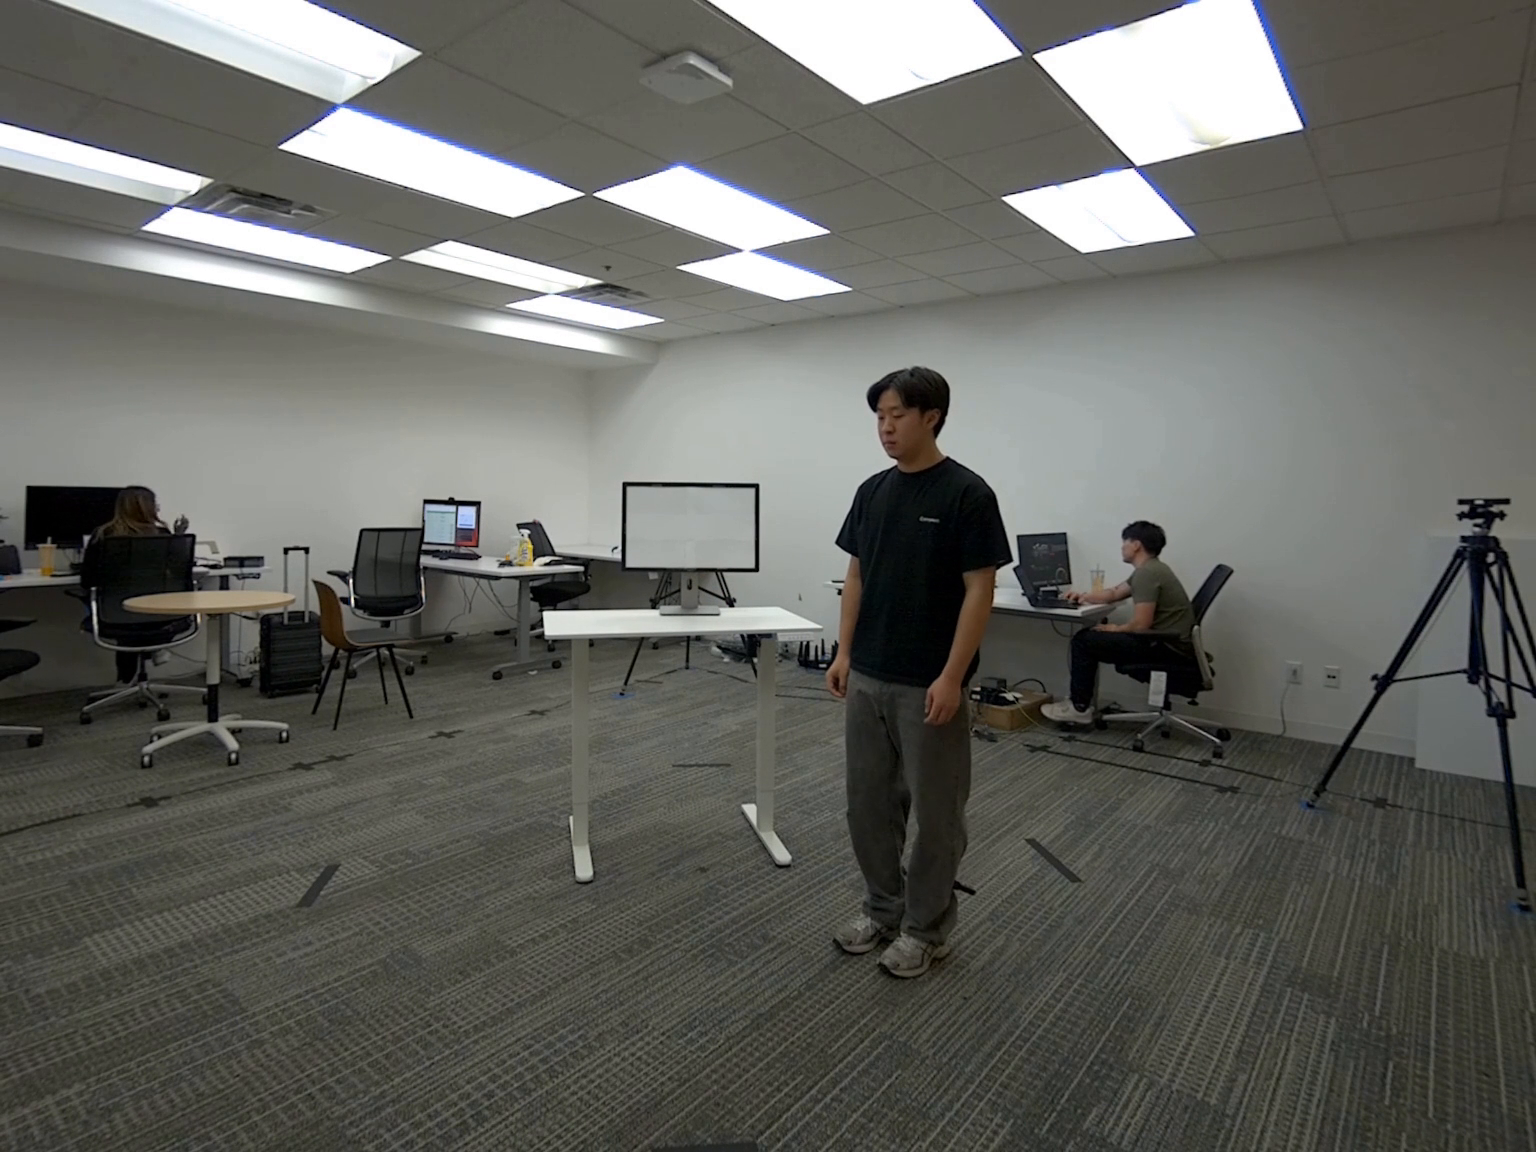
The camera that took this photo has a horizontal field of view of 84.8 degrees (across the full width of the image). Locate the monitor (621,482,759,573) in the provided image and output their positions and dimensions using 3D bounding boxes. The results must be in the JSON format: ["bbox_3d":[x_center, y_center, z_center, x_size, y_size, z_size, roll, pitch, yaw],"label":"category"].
[{"bbox_3d":[-0.326,-0.108,3.497,0.561,0.560,0.225,0,10,-2],"label":"monitor"}]
